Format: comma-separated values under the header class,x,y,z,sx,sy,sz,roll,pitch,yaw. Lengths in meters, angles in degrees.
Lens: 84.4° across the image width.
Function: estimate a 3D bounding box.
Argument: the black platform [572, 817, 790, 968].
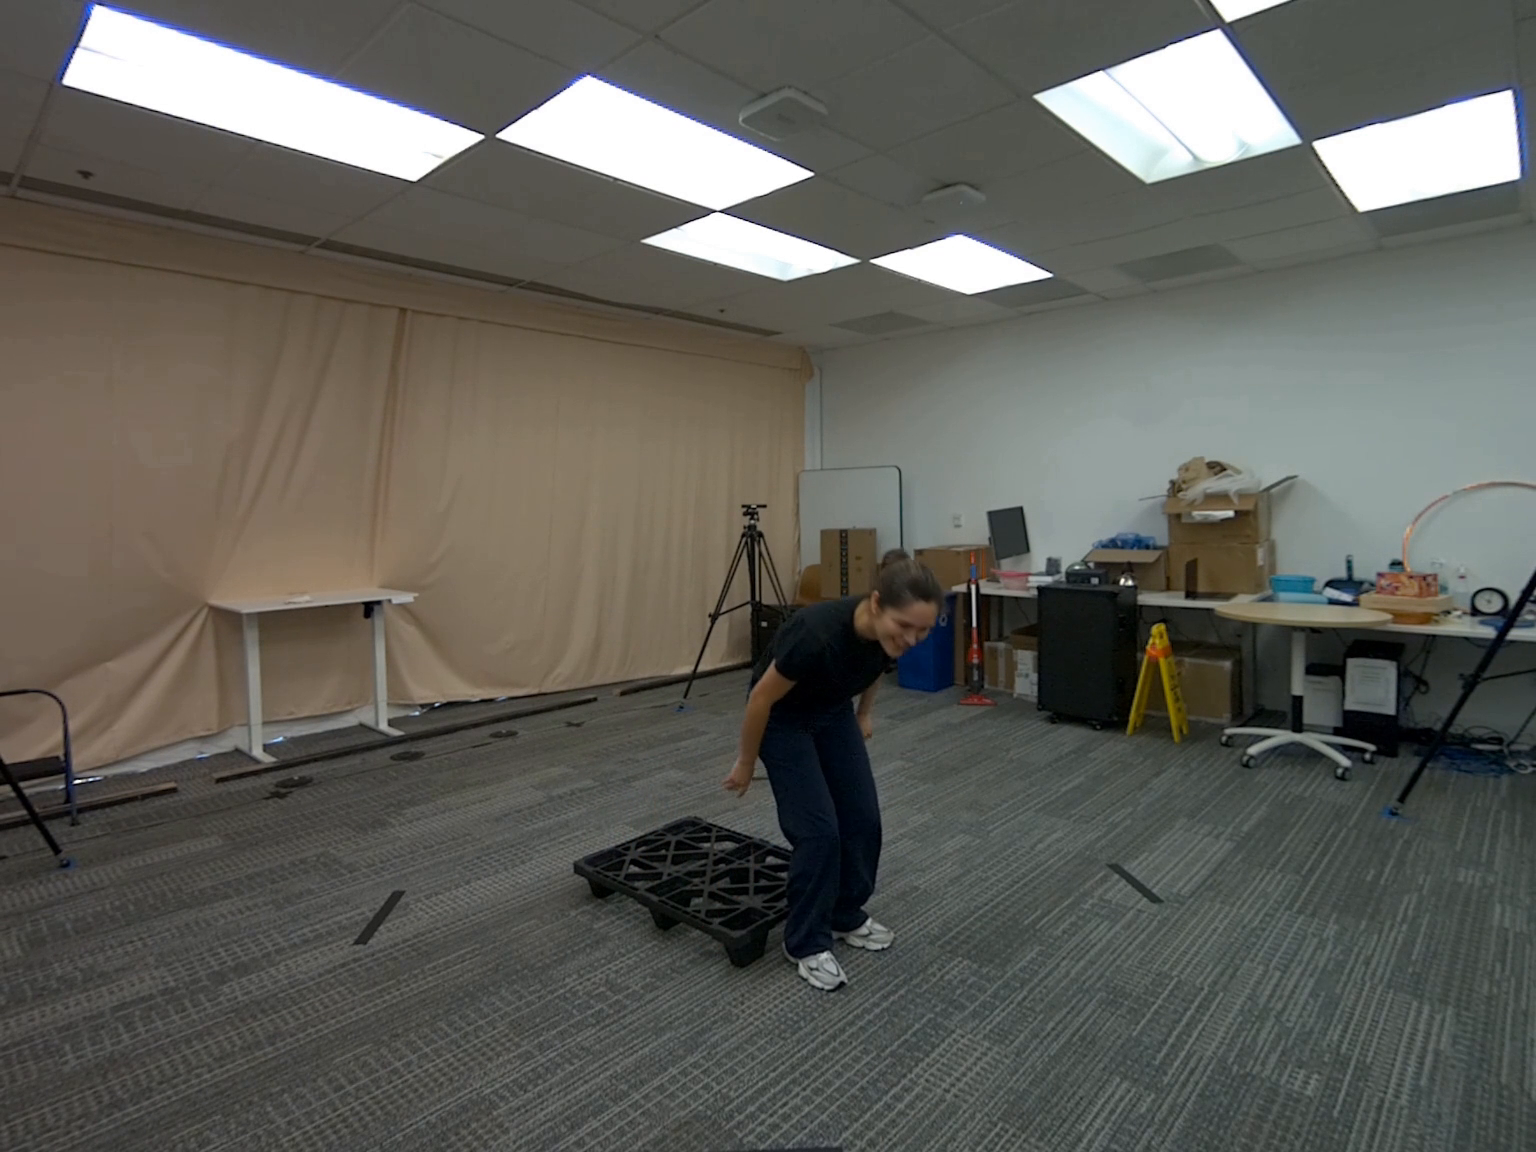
class,x,y,z,sx,sy,sz,roll,pitch,yaw
black platform,-0.192,1.085,2.940,0.832,0.143,0.587,3,7,42
